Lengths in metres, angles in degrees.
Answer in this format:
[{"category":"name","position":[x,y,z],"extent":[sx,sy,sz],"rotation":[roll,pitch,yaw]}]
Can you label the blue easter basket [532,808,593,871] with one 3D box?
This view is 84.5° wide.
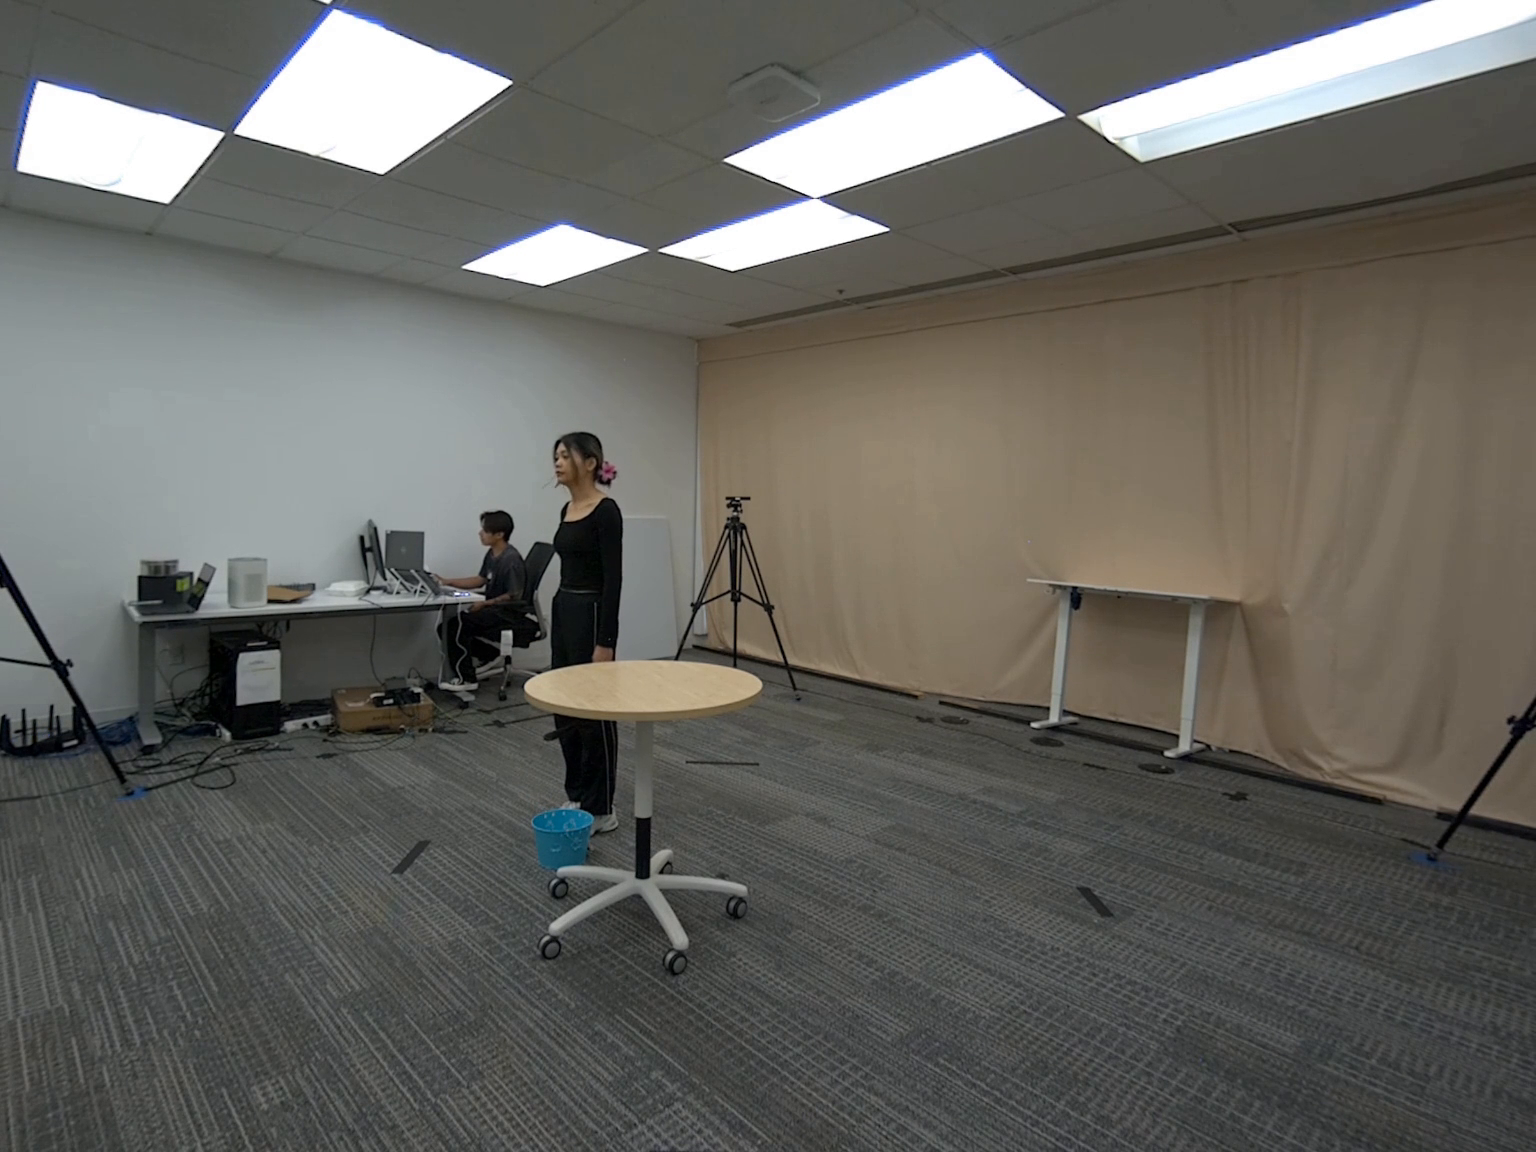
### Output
[{"category":"blue easter basket","position":[-0.797,1.009,3.212],"extent":[0.243,0.155,0.244],"rotation":[1,5,-1]}]
